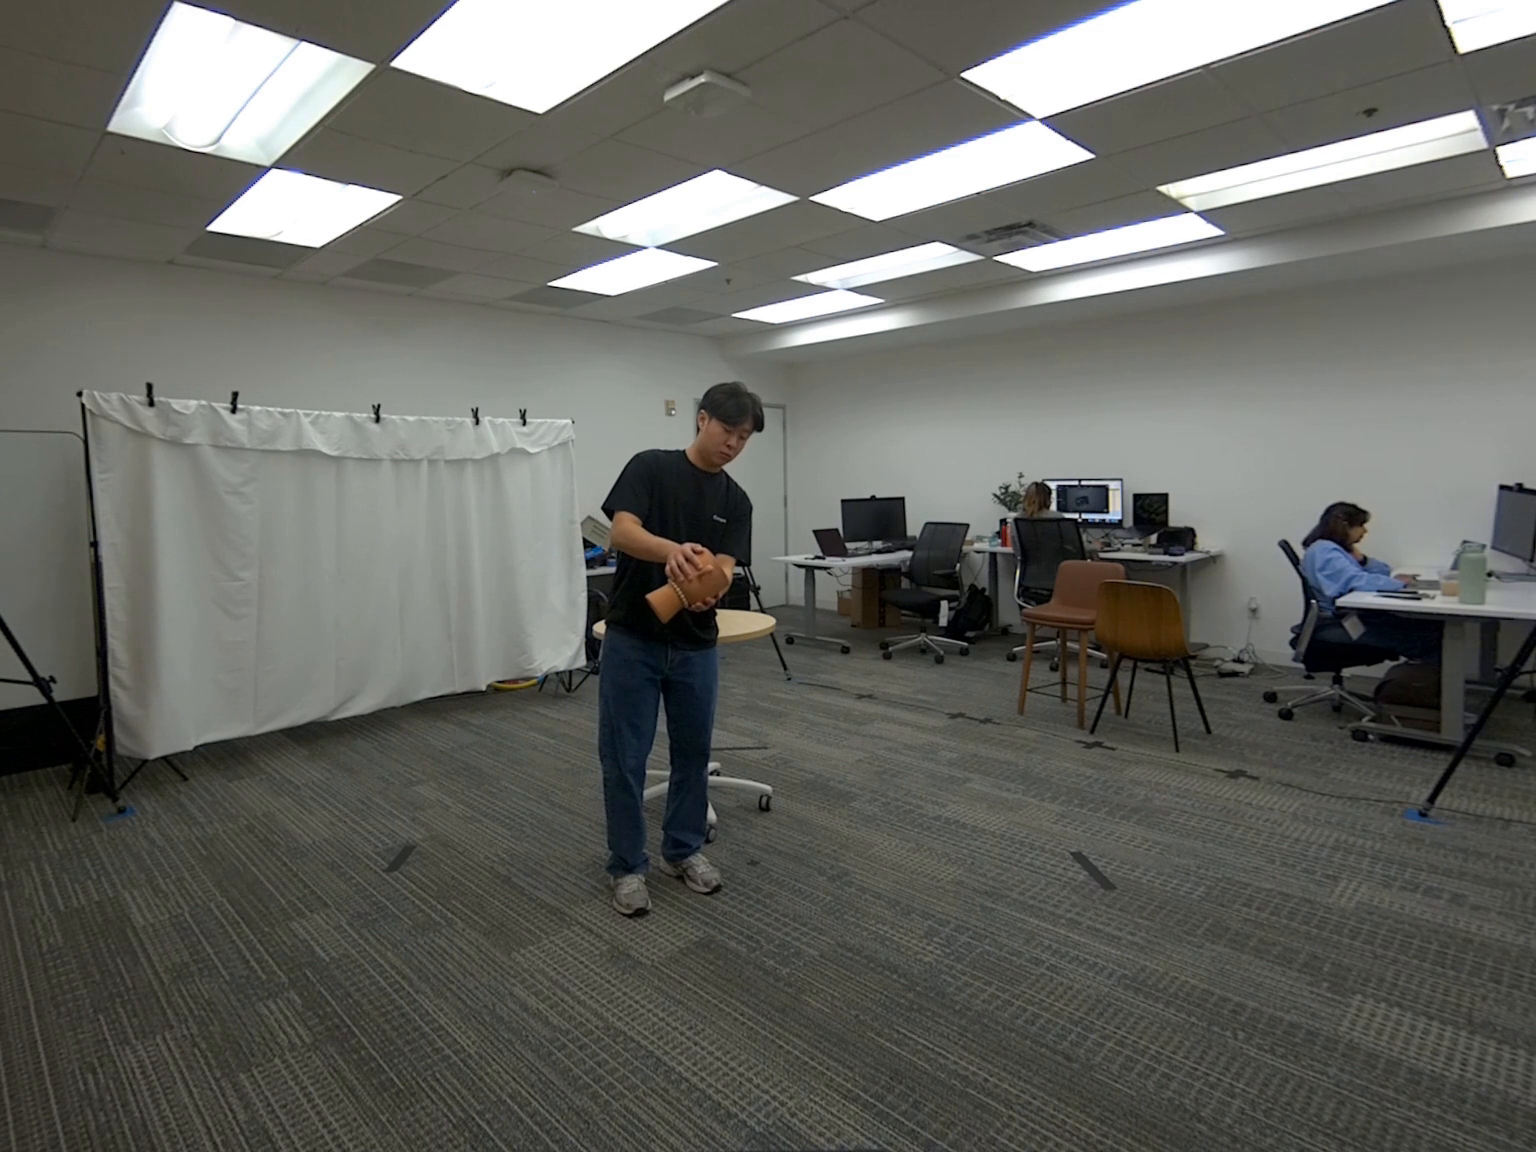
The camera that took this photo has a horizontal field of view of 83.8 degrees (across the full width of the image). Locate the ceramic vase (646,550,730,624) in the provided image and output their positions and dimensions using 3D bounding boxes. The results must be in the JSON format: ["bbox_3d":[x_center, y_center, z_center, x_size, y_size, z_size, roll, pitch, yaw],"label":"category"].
[{"bbox_3d":[-0.234,0.034,2.453,0.219,0.153,0.140,-35,49,-10],"label":"ceramic vase"}]
